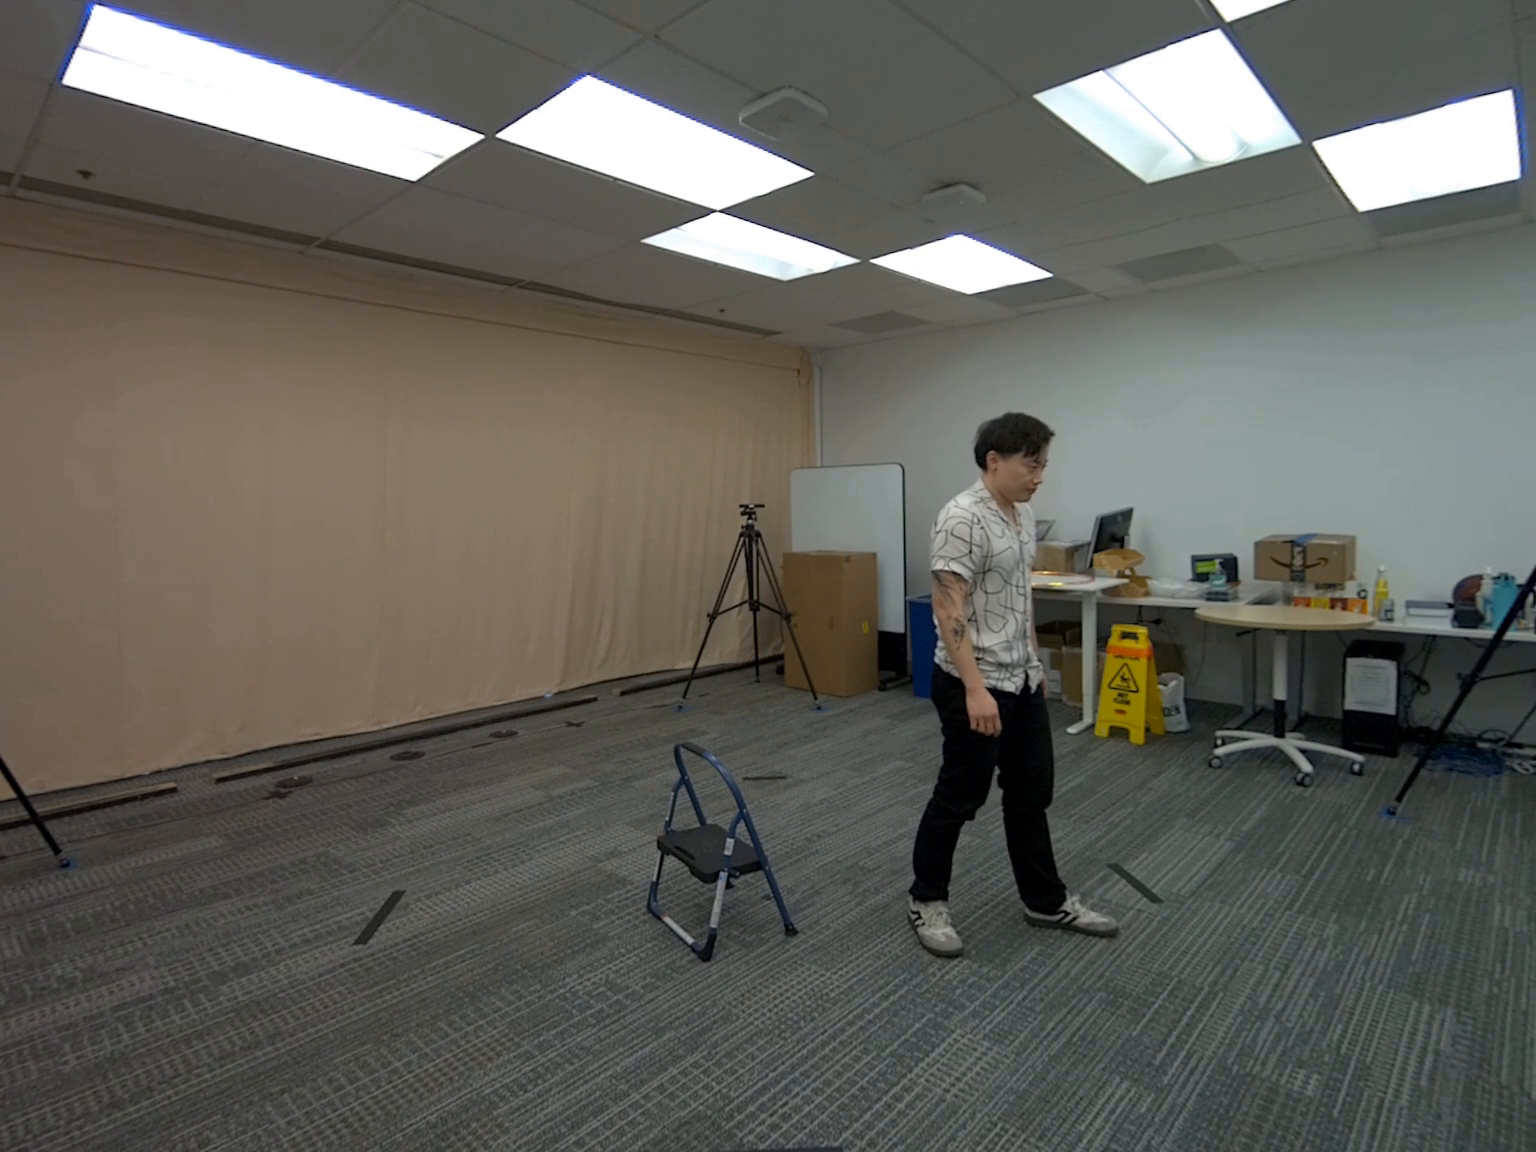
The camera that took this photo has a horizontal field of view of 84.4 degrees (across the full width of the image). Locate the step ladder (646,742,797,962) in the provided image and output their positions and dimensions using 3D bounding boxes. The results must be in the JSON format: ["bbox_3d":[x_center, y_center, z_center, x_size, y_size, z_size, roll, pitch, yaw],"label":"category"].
[{"bbox_3d":[-0.171,0.853,2.811,0.339,0.605,0.444,-4,4,-33],"label":"step ladder"}]
